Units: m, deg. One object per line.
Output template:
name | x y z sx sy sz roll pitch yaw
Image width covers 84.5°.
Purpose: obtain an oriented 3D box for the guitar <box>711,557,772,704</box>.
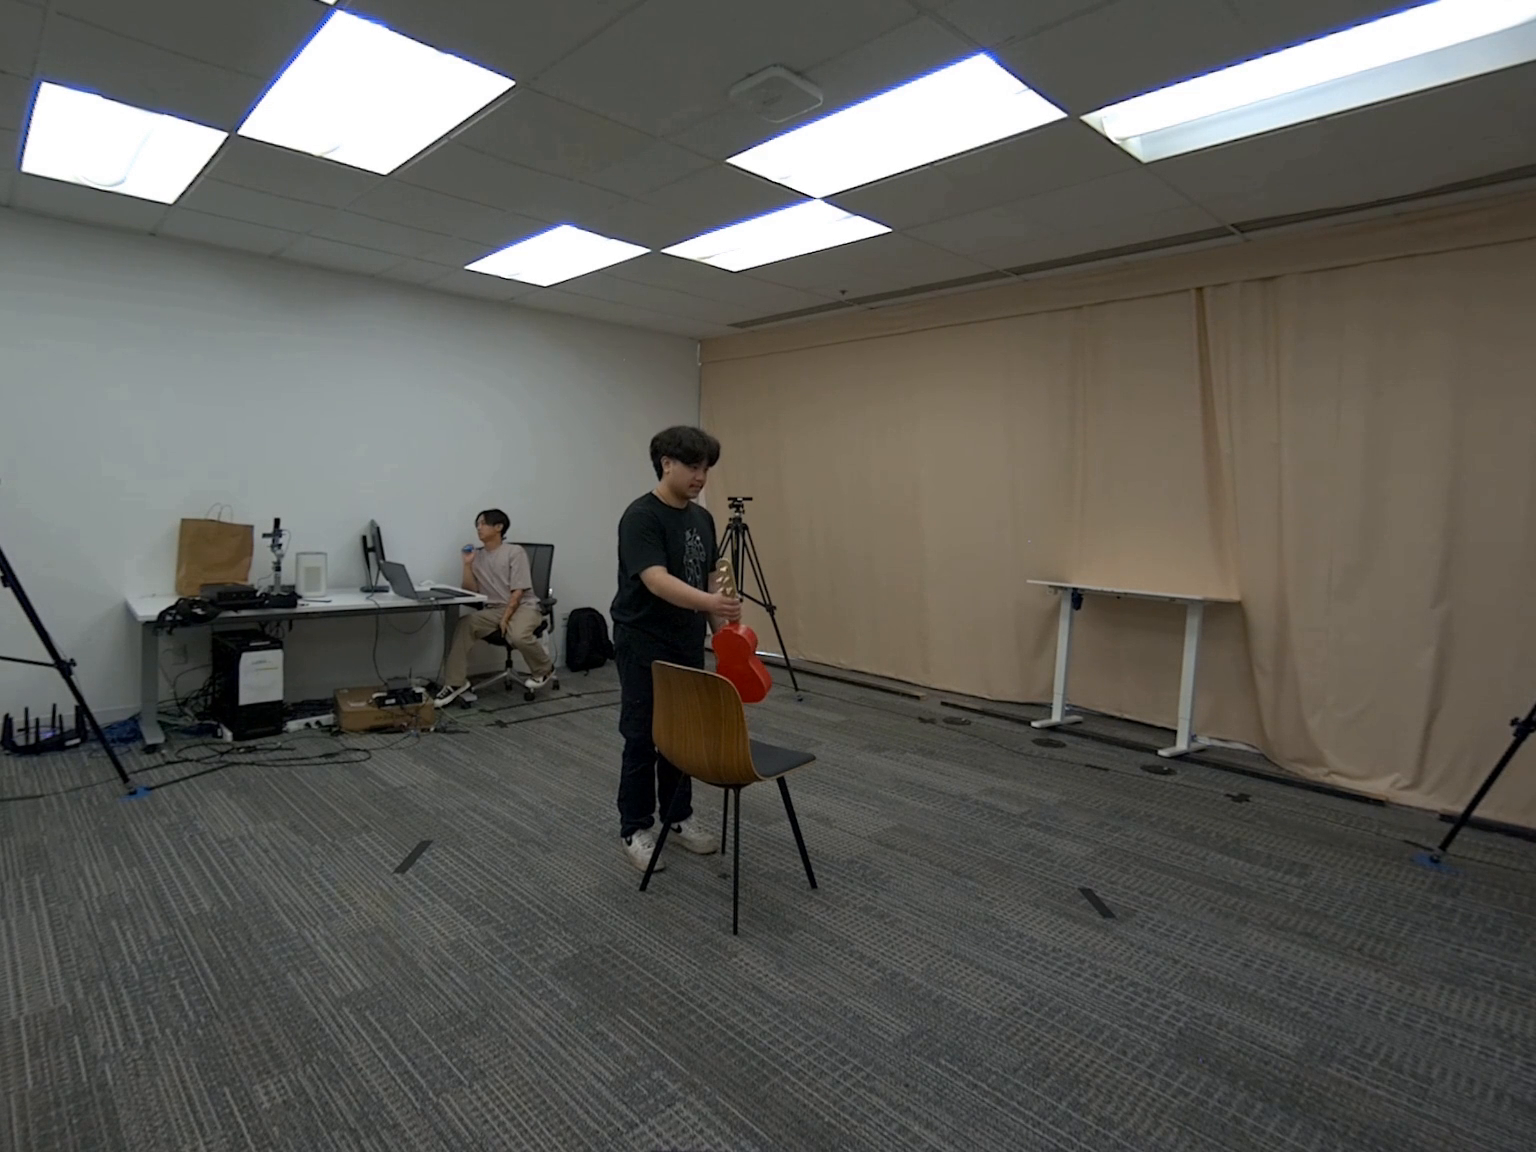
guitar | -0.141 0.192 2.809 0.196 0.492 0.070 -9 16 34
